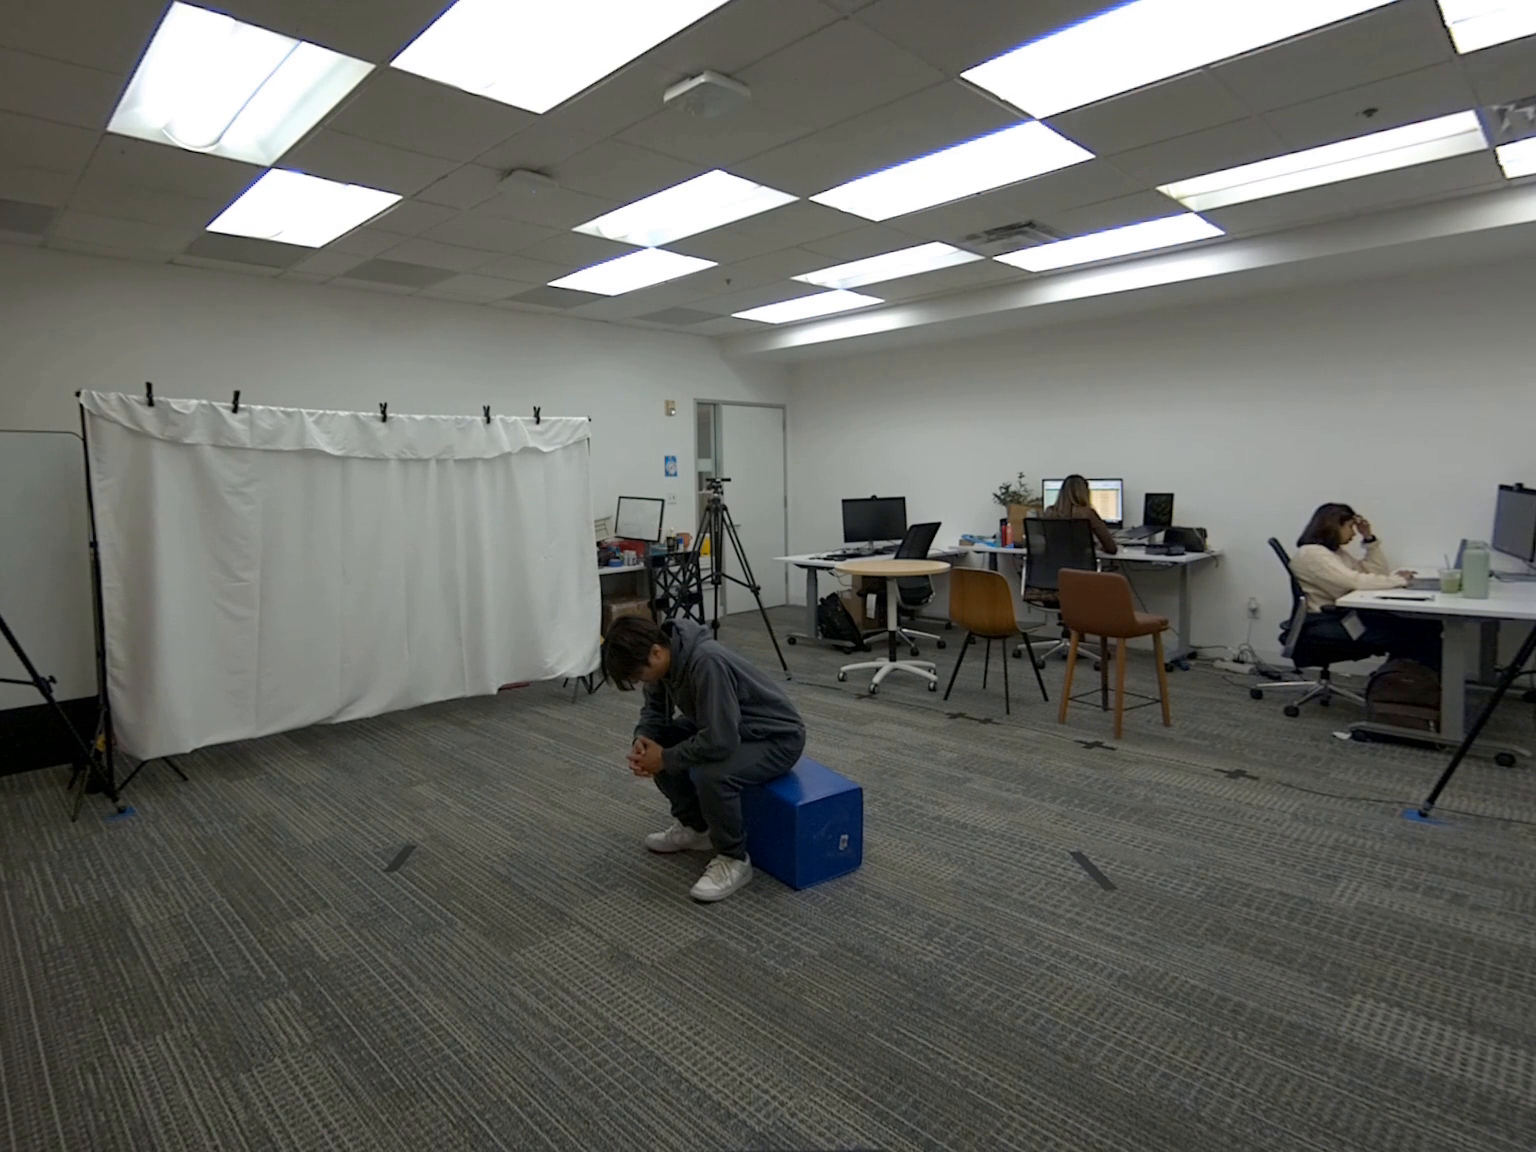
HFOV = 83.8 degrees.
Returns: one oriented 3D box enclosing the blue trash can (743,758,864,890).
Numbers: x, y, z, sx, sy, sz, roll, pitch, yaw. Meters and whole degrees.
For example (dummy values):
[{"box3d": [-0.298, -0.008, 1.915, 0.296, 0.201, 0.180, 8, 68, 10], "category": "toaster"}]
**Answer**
[{"box3d": [0.014, 0.856, 3.248, 0.364, 0.375, 0.736, -4, 10, -35], "category": "blue trash can"}]
